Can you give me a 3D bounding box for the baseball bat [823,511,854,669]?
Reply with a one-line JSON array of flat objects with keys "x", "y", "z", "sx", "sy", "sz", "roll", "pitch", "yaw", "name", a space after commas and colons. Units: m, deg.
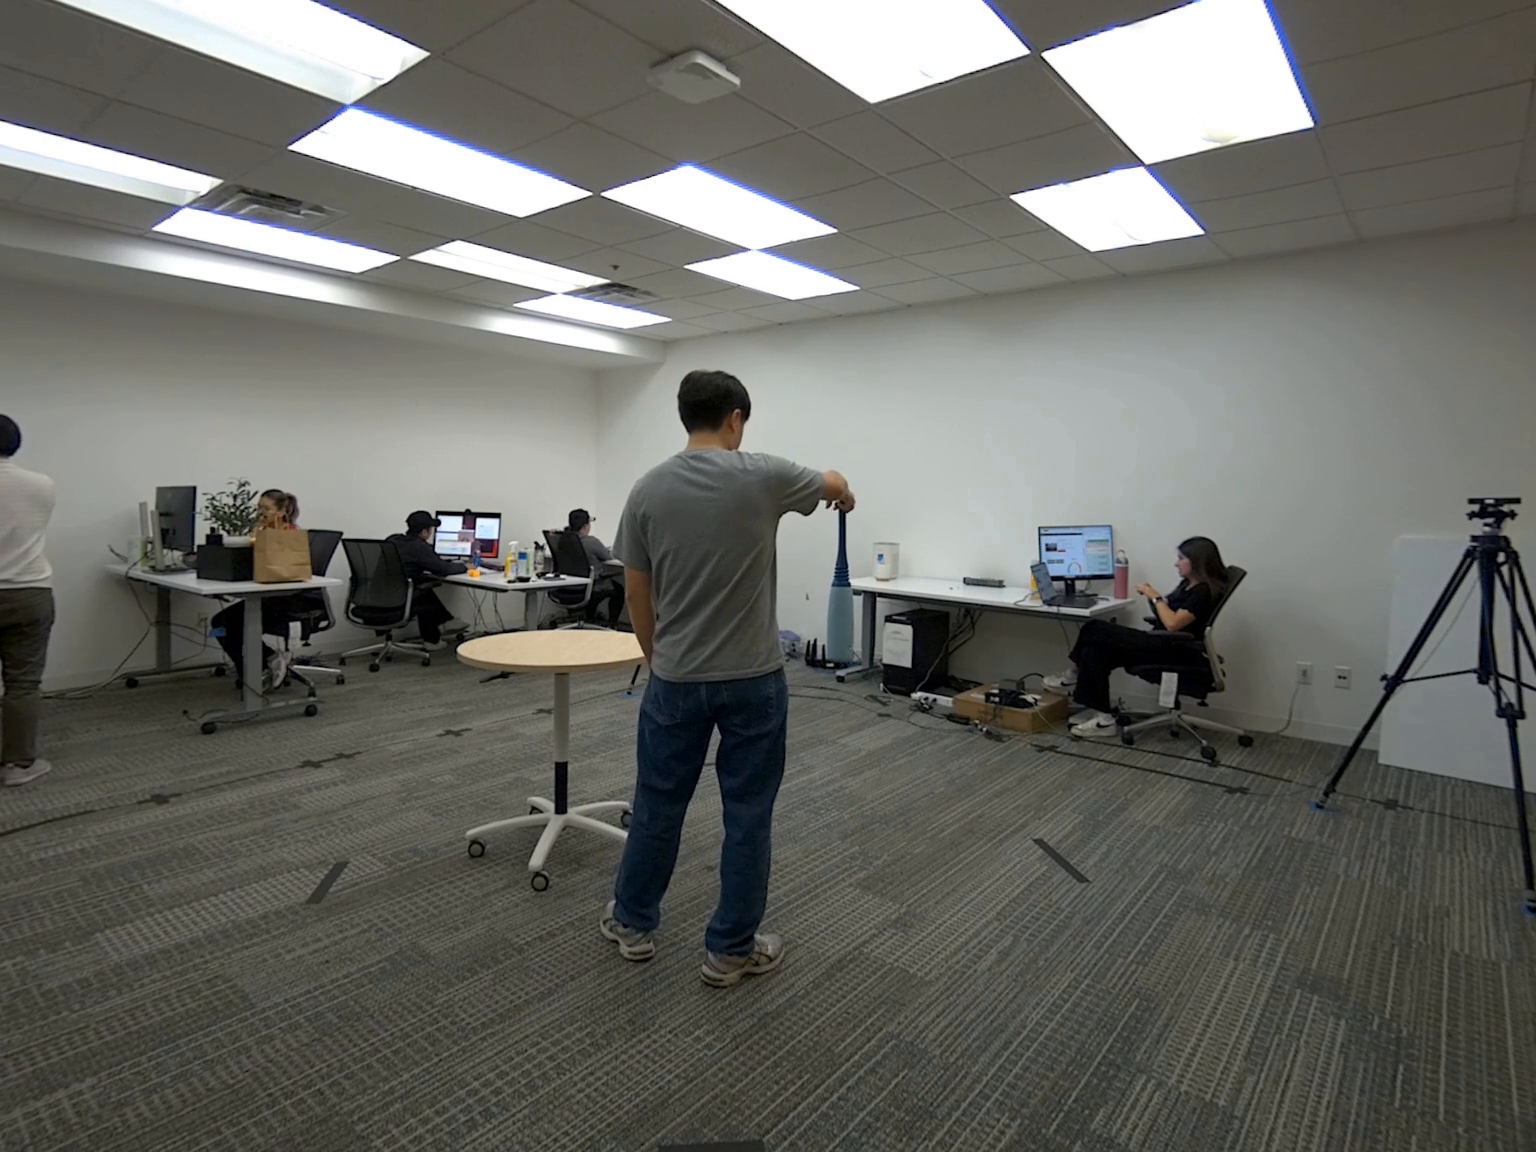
[{"x": 0.236, "y": 0.015, "z": 2.880, "sx": 0.089, "sy": 0.543, "sz": 0.089, "roll": 2, "pitch": -1, "yaw": -2, "name": "baseball bat"}]
